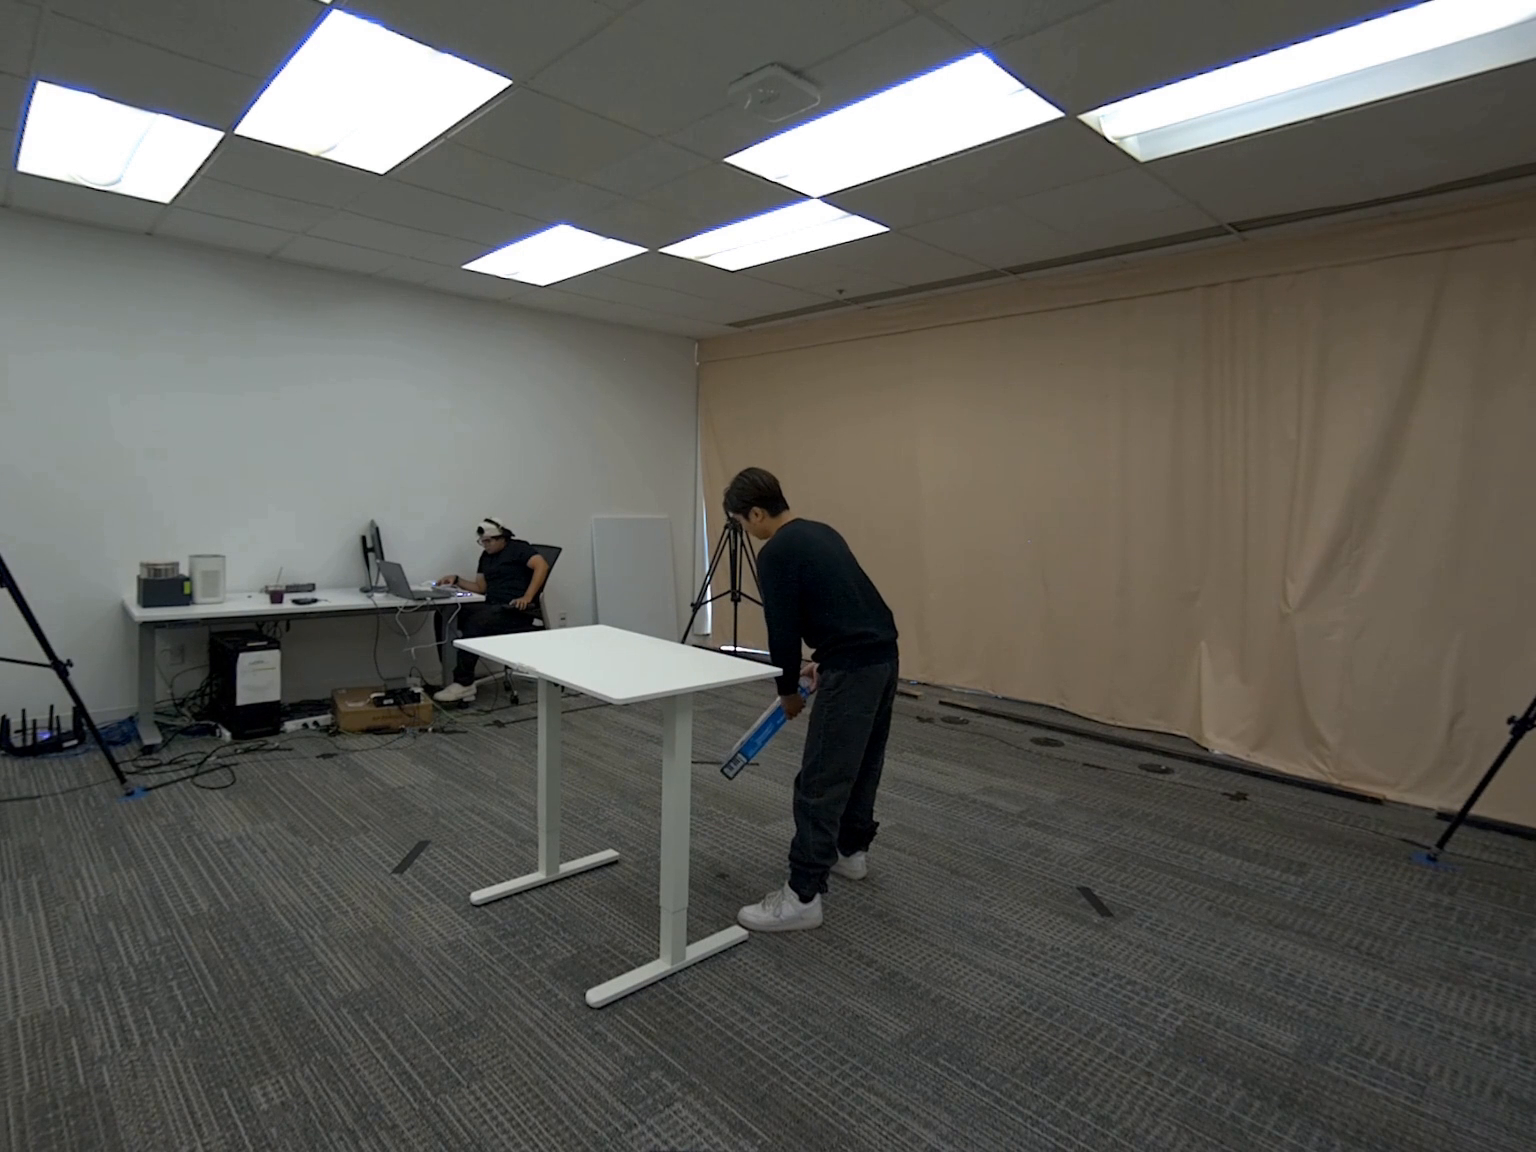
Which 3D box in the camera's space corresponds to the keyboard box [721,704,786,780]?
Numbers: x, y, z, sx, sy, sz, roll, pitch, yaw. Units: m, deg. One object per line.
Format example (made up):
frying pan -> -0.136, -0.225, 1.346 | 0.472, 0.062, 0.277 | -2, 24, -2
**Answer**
keyboard box -> -0.015, 0.562, 3.161 | 0.059, 0.436, 0.176 | 41, 8, -2
